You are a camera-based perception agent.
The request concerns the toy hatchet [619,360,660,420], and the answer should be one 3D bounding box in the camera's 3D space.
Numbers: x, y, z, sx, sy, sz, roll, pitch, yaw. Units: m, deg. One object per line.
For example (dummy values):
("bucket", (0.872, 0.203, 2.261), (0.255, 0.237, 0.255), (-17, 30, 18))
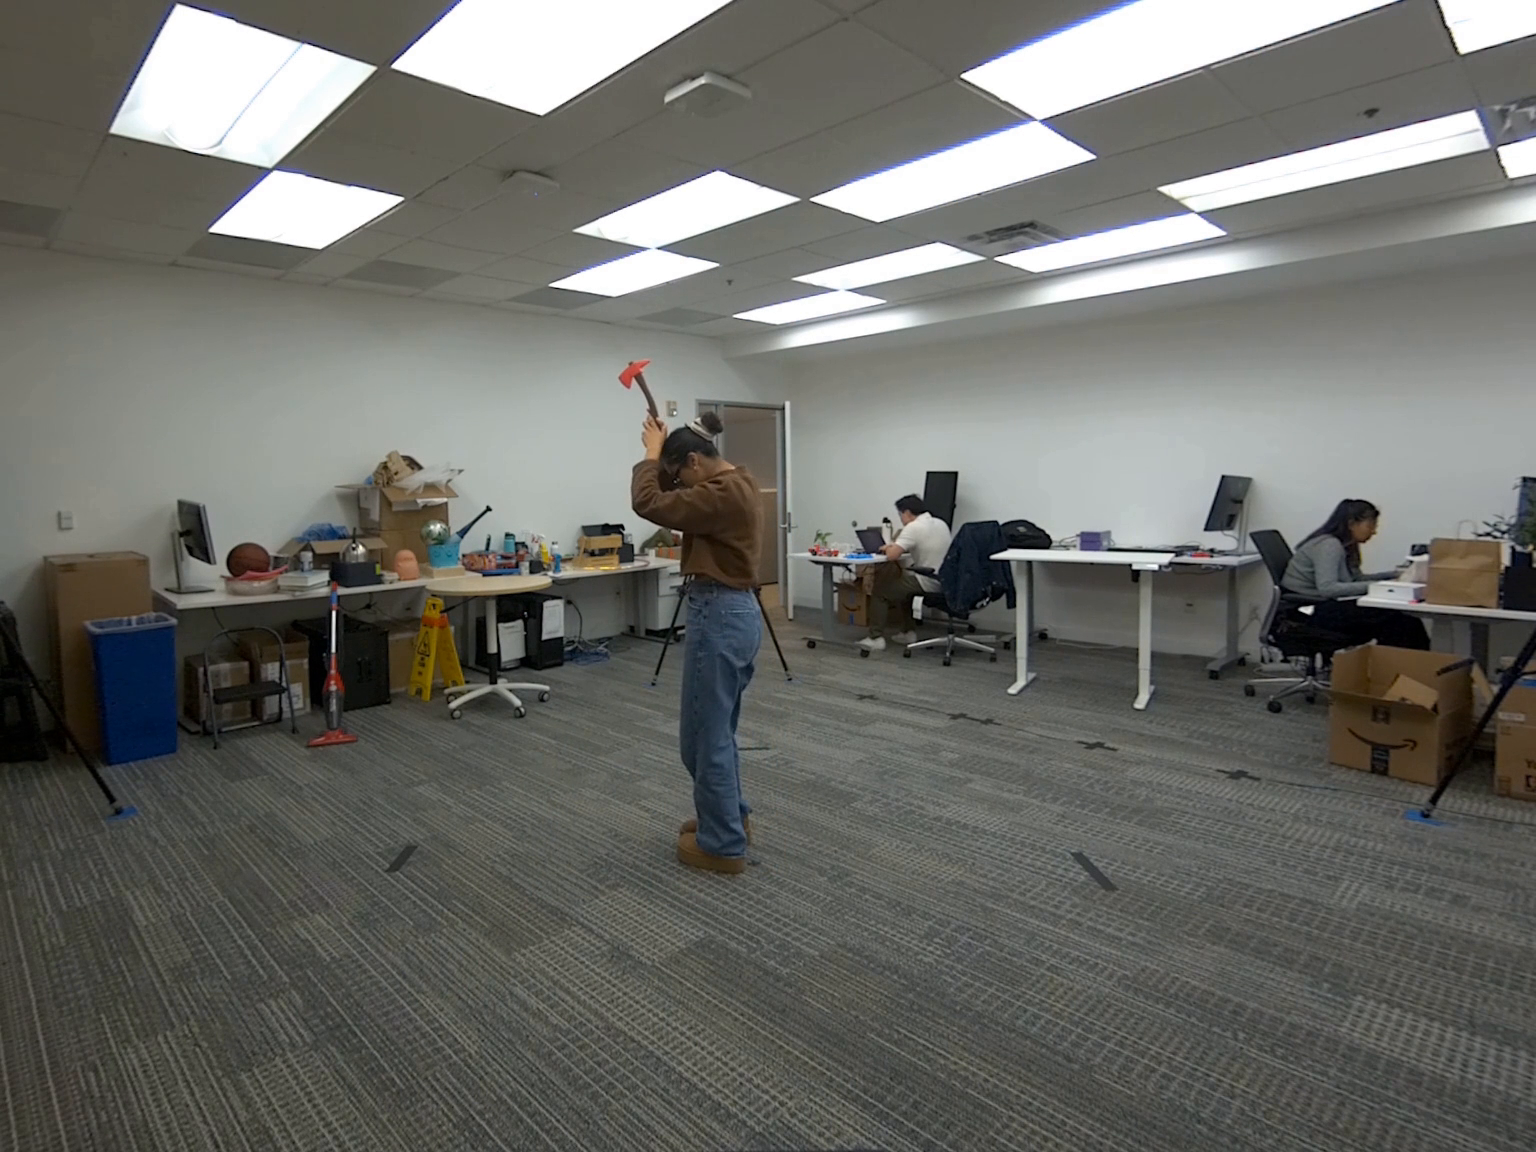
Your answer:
("toy hatchet", (-0.465, -0.655, 3.129), (0.132, 0.269, 0.029), (-8, 3, 10))
